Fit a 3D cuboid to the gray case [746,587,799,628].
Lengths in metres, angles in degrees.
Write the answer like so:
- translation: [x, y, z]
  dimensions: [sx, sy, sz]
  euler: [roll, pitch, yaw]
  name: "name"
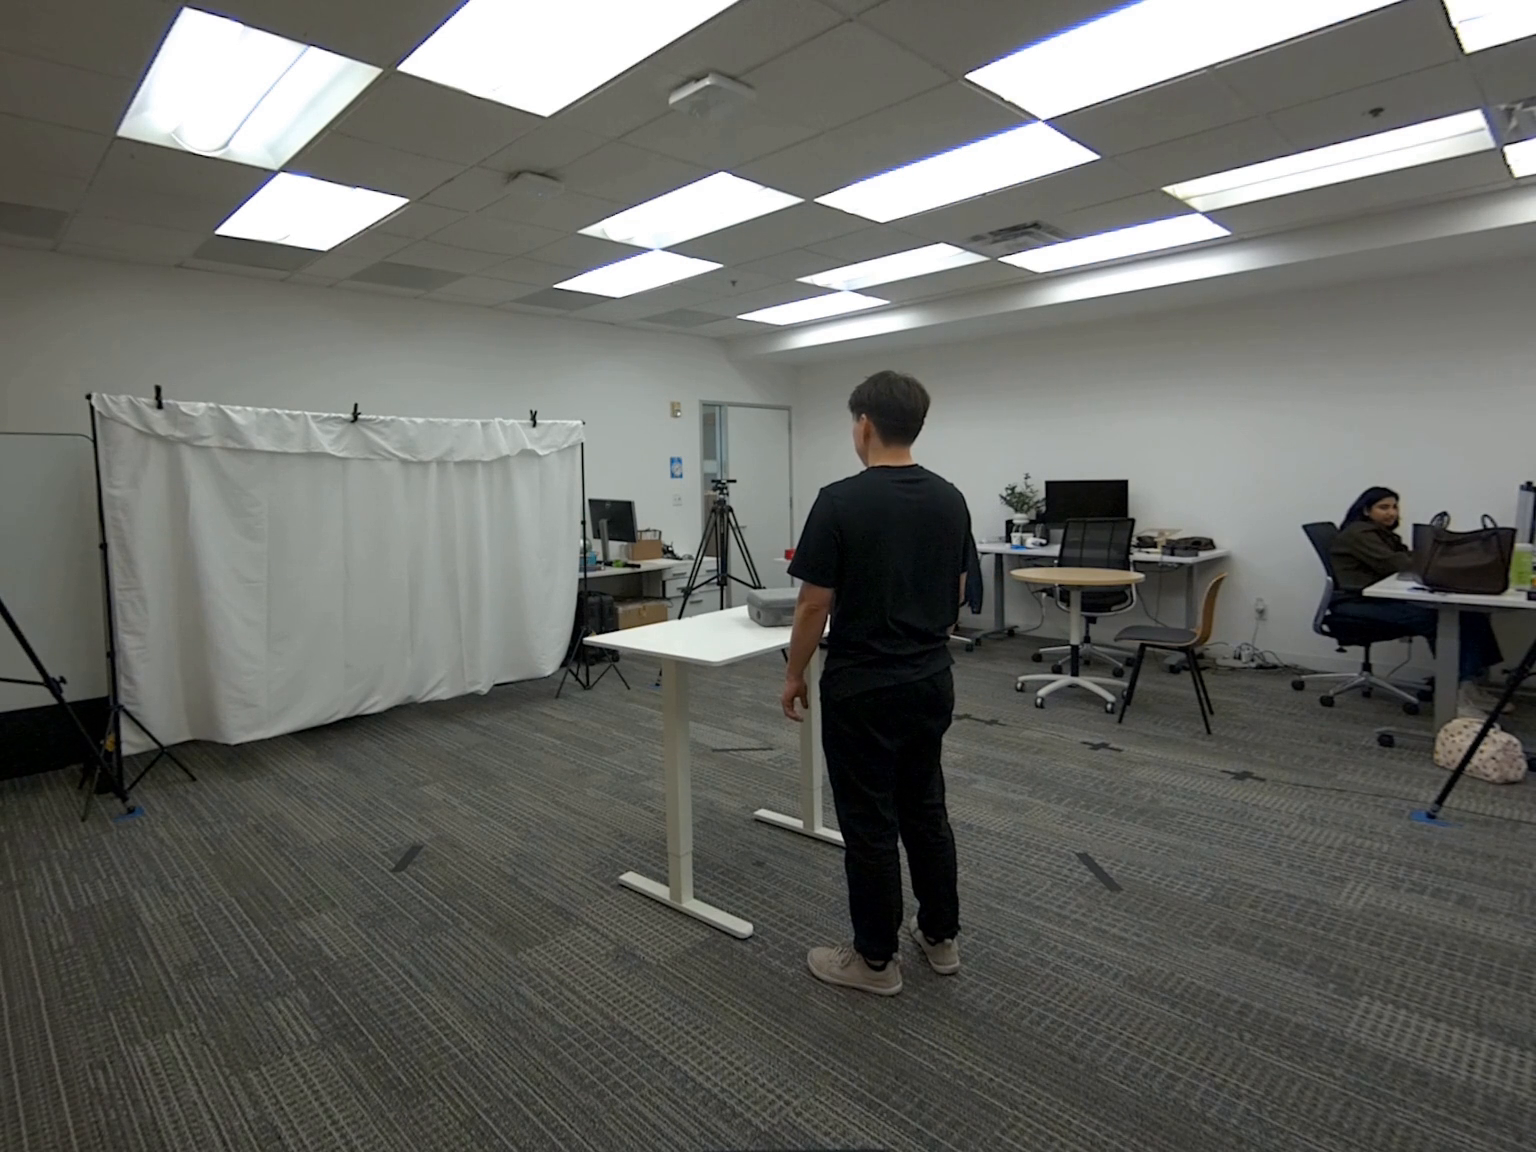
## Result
- translation: [0.074, 0.110, 3.093]
  dimensions: [0.254, 0.104, 0.265]
  euler: [-2, 7, -13]
  name: "gray case"
